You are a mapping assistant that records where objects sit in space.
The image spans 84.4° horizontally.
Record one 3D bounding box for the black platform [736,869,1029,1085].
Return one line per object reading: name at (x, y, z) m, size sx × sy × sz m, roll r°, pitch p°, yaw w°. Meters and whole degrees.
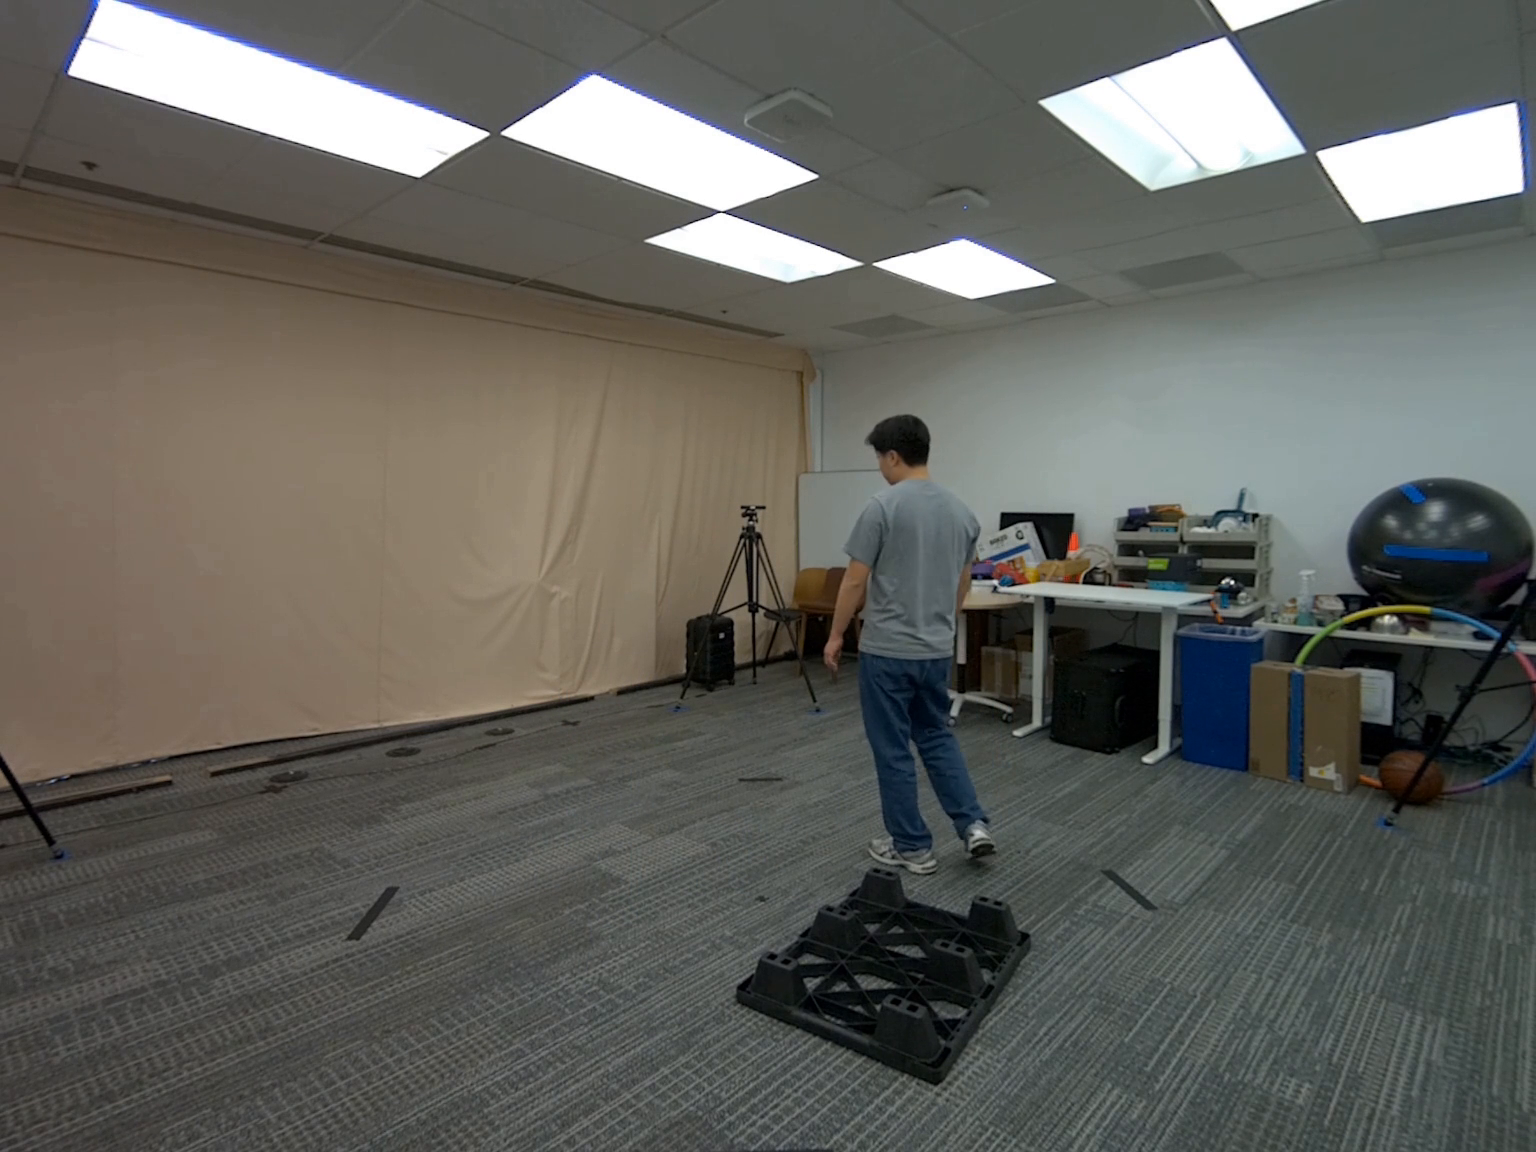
black platform at (0.373, 1.117, 2.500) m, size 0.624 × 0.143 × 0.783 m, roll 3°, pitch 6°, yaw 33°
